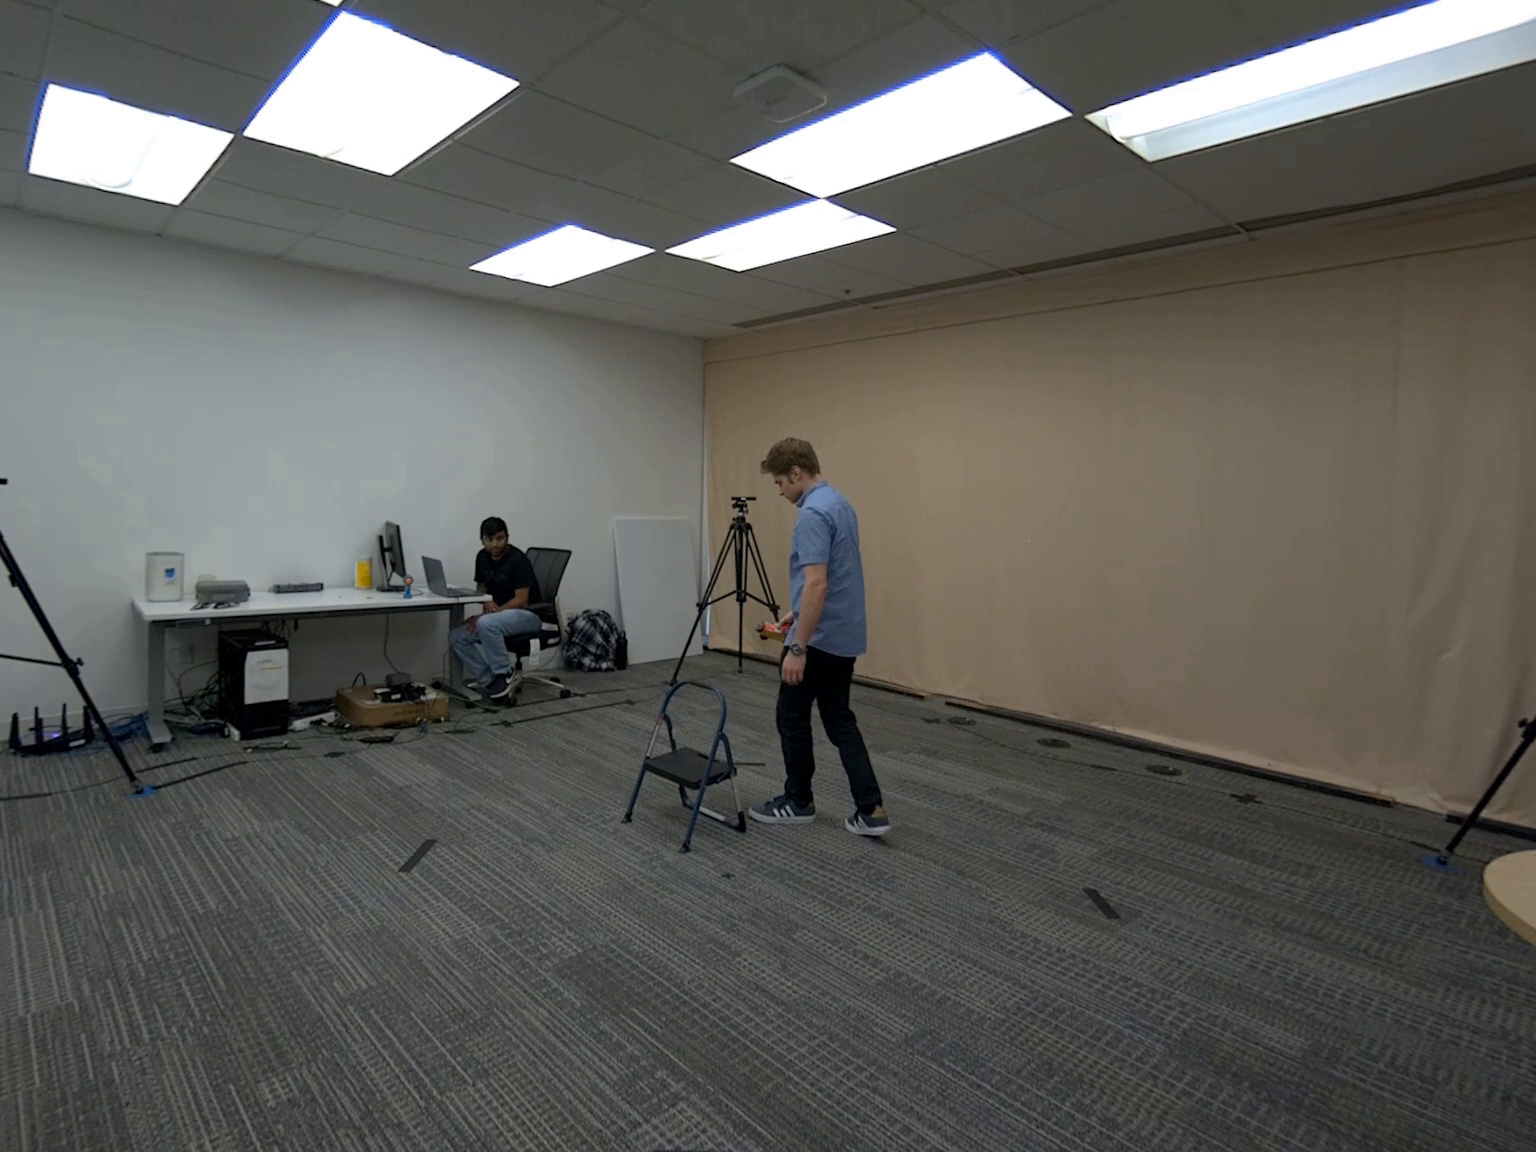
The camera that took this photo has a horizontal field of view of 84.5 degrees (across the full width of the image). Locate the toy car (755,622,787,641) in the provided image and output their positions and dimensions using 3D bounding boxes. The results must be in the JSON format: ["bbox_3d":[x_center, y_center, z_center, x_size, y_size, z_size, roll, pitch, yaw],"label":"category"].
[{"bbox_3d":[0.067,0.265,3.877,0.259,0.084,0.126,3,-32,20],"label":"toy car"}]
